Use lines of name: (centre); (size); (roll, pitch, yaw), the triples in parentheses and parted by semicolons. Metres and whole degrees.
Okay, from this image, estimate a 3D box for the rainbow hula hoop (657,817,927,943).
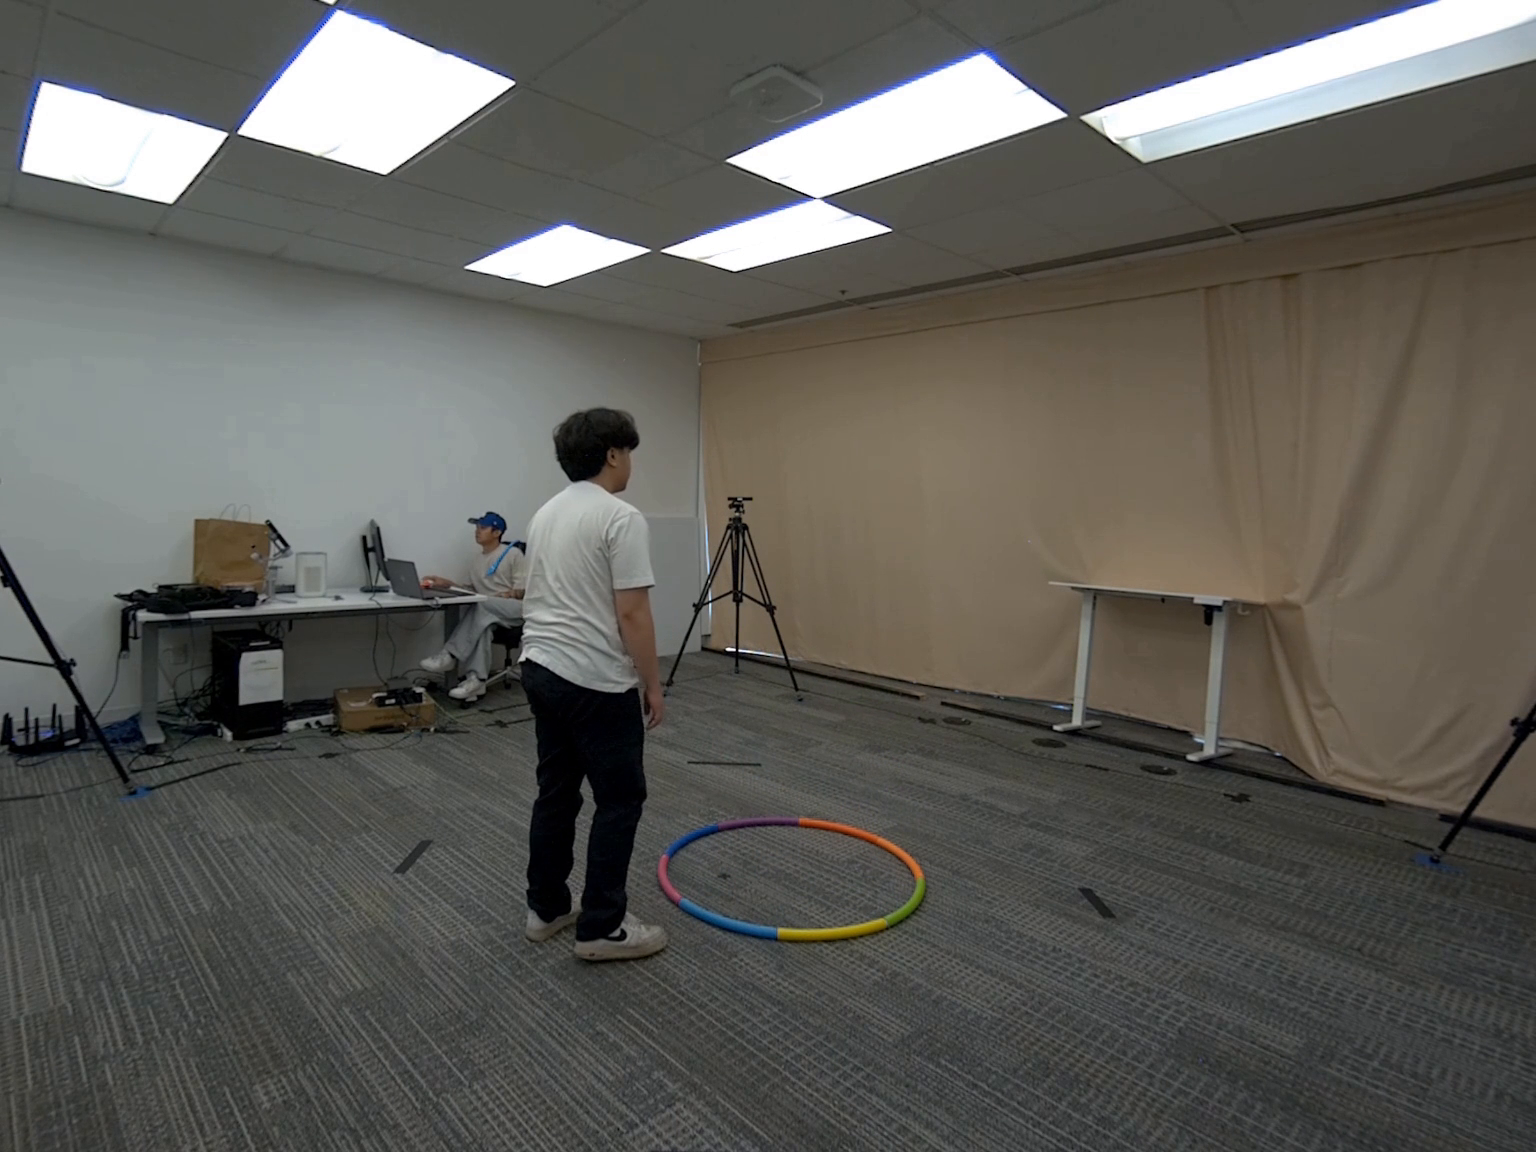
rainbow hula hoop: (0.077, 1.084, 3.135); (0.985, 0.051, 0.989); (1, 5, -1)
